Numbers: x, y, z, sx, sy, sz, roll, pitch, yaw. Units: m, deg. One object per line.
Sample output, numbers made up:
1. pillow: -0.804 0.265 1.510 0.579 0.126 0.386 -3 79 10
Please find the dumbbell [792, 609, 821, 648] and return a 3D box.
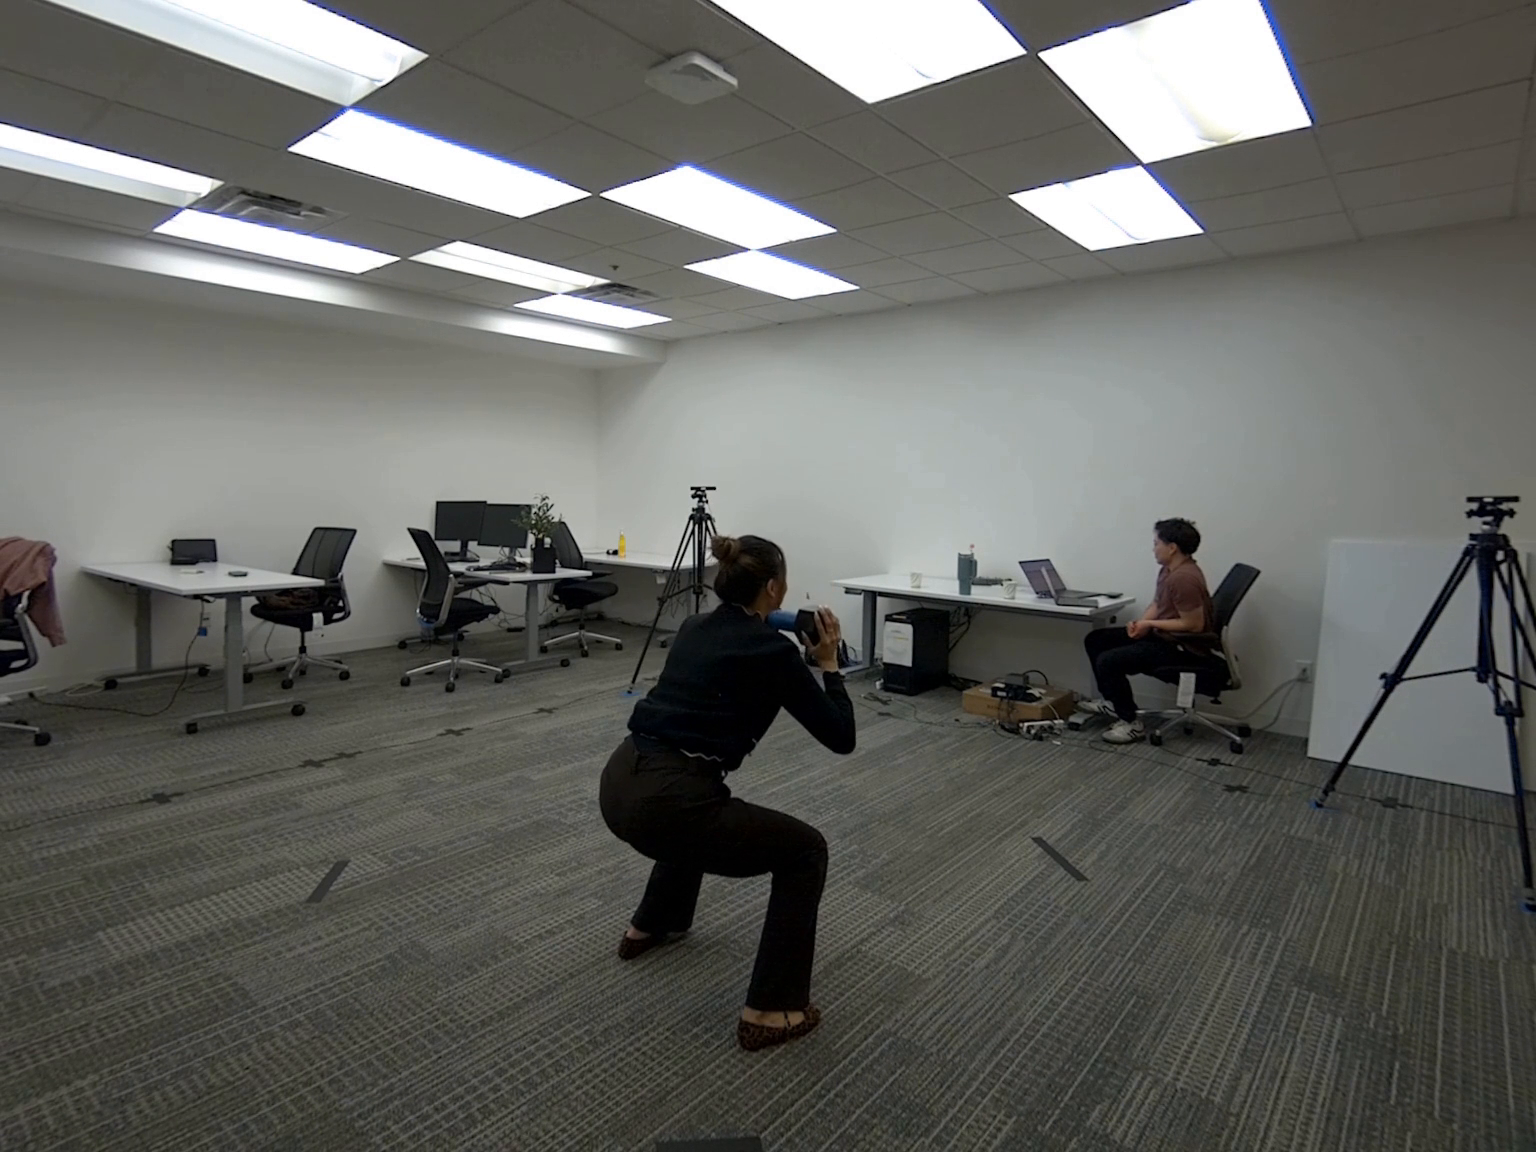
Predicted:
1. dumbbell: 0.049 0.131 2.515 0.303 0.119 0.108 5 44 48
